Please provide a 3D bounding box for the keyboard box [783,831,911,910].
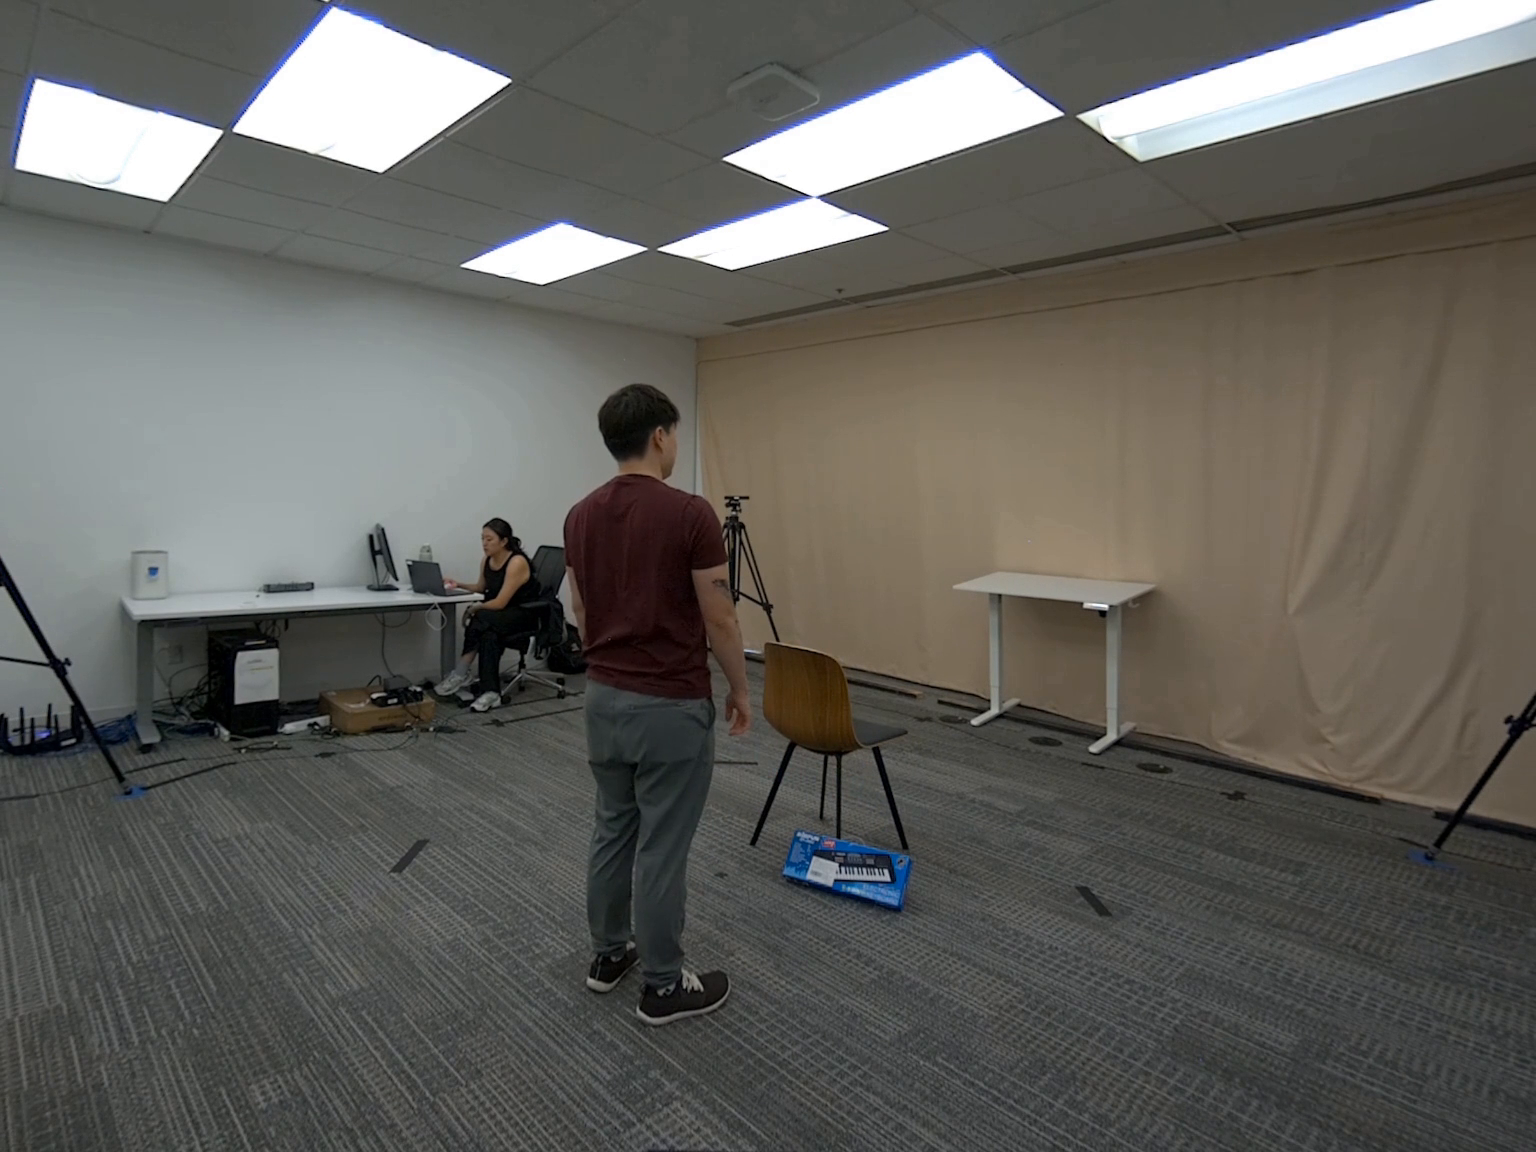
[{"bbox_3d":[0.272,1.042,2.986,0.446,0.178,0.057,4,-33,29],"label":"keyboard box"}]
